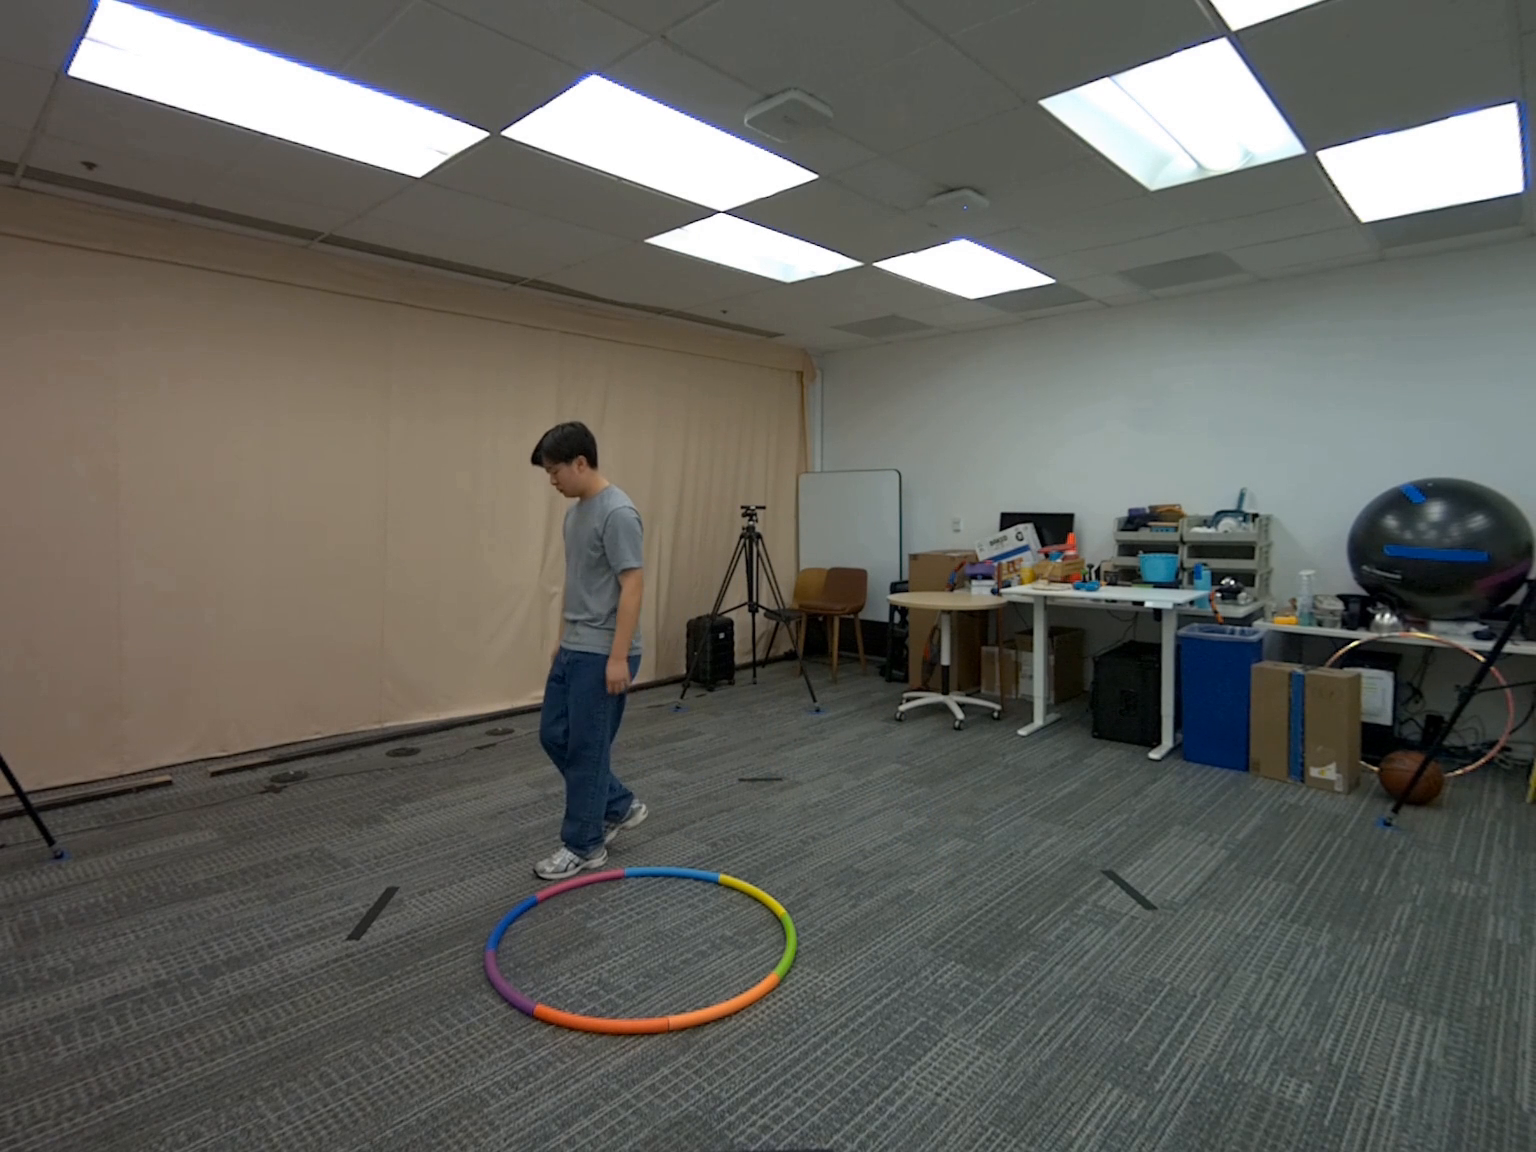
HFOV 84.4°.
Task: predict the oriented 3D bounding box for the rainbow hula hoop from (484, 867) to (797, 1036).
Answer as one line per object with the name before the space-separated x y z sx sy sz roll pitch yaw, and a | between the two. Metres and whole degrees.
rainbow hula hoop | -0.394 1.143 2.704 0.978 0.035 0.982 -1 4 -2
